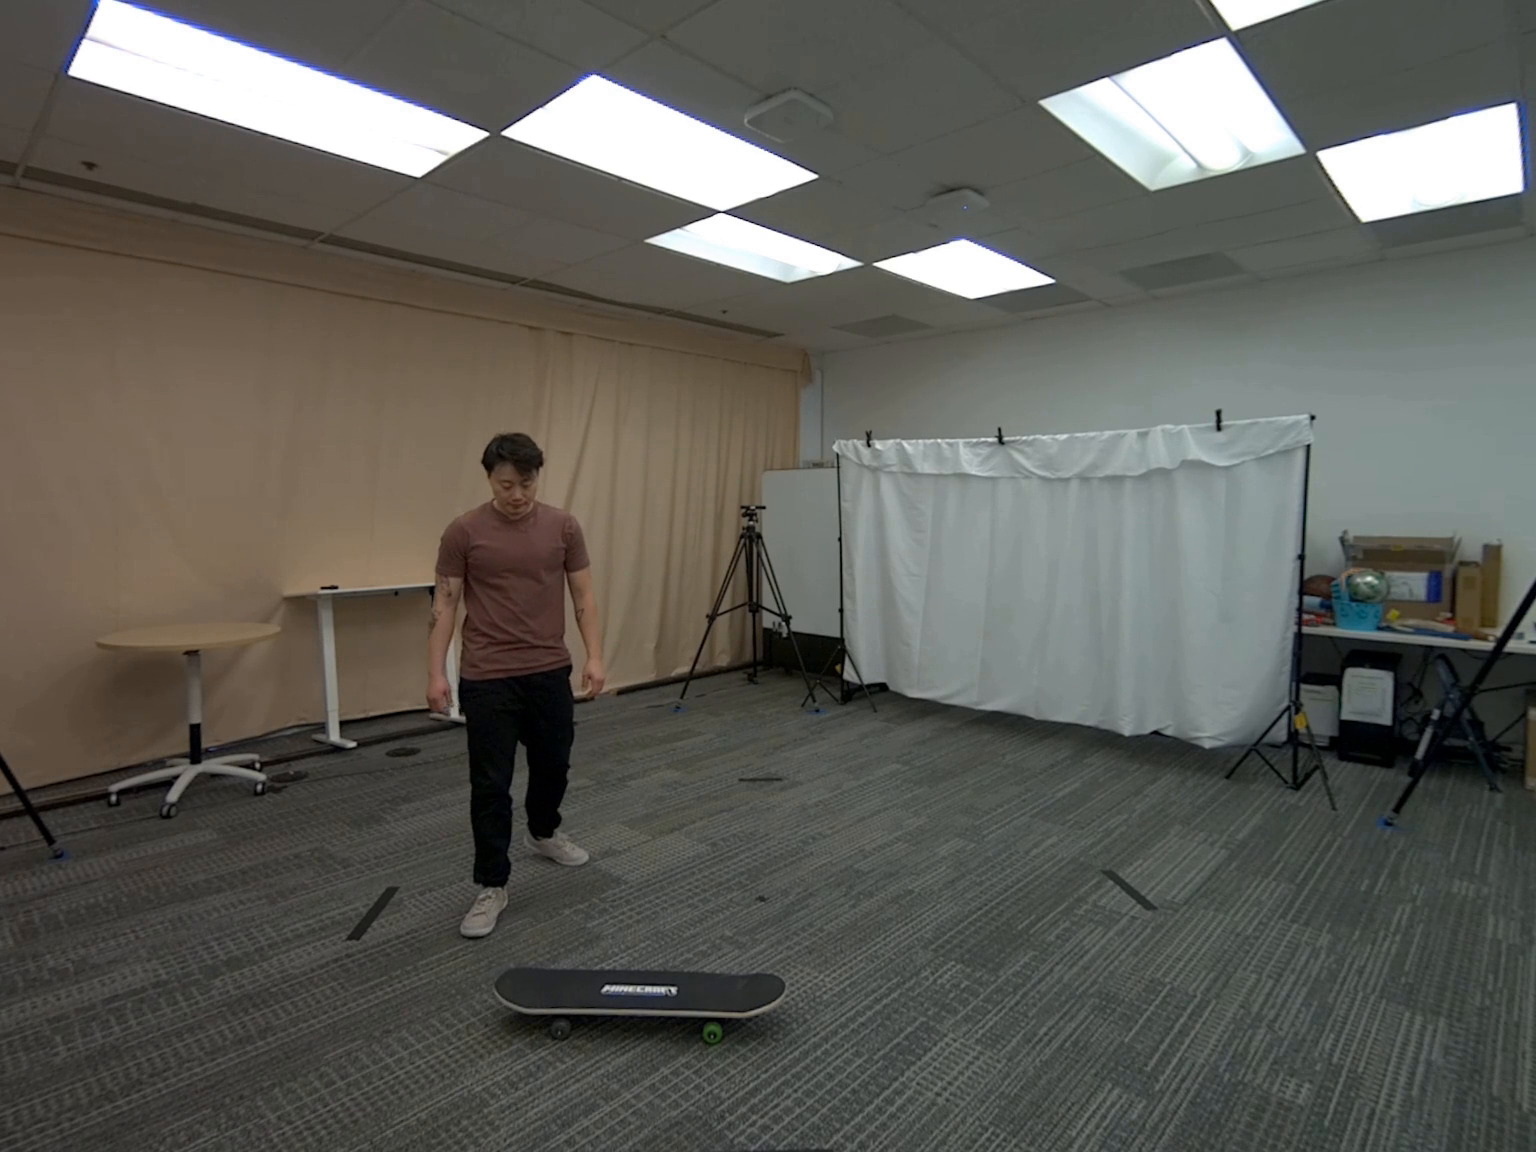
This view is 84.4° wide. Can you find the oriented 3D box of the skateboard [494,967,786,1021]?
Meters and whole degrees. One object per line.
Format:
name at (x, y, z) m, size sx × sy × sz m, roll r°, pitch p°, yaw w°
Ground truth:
skateboard at (-0.345, 1.152, 2.264) m, size 0.789 × 0.110 × 0.193 m, roll 0°, pitch 3°, yaw 4°
